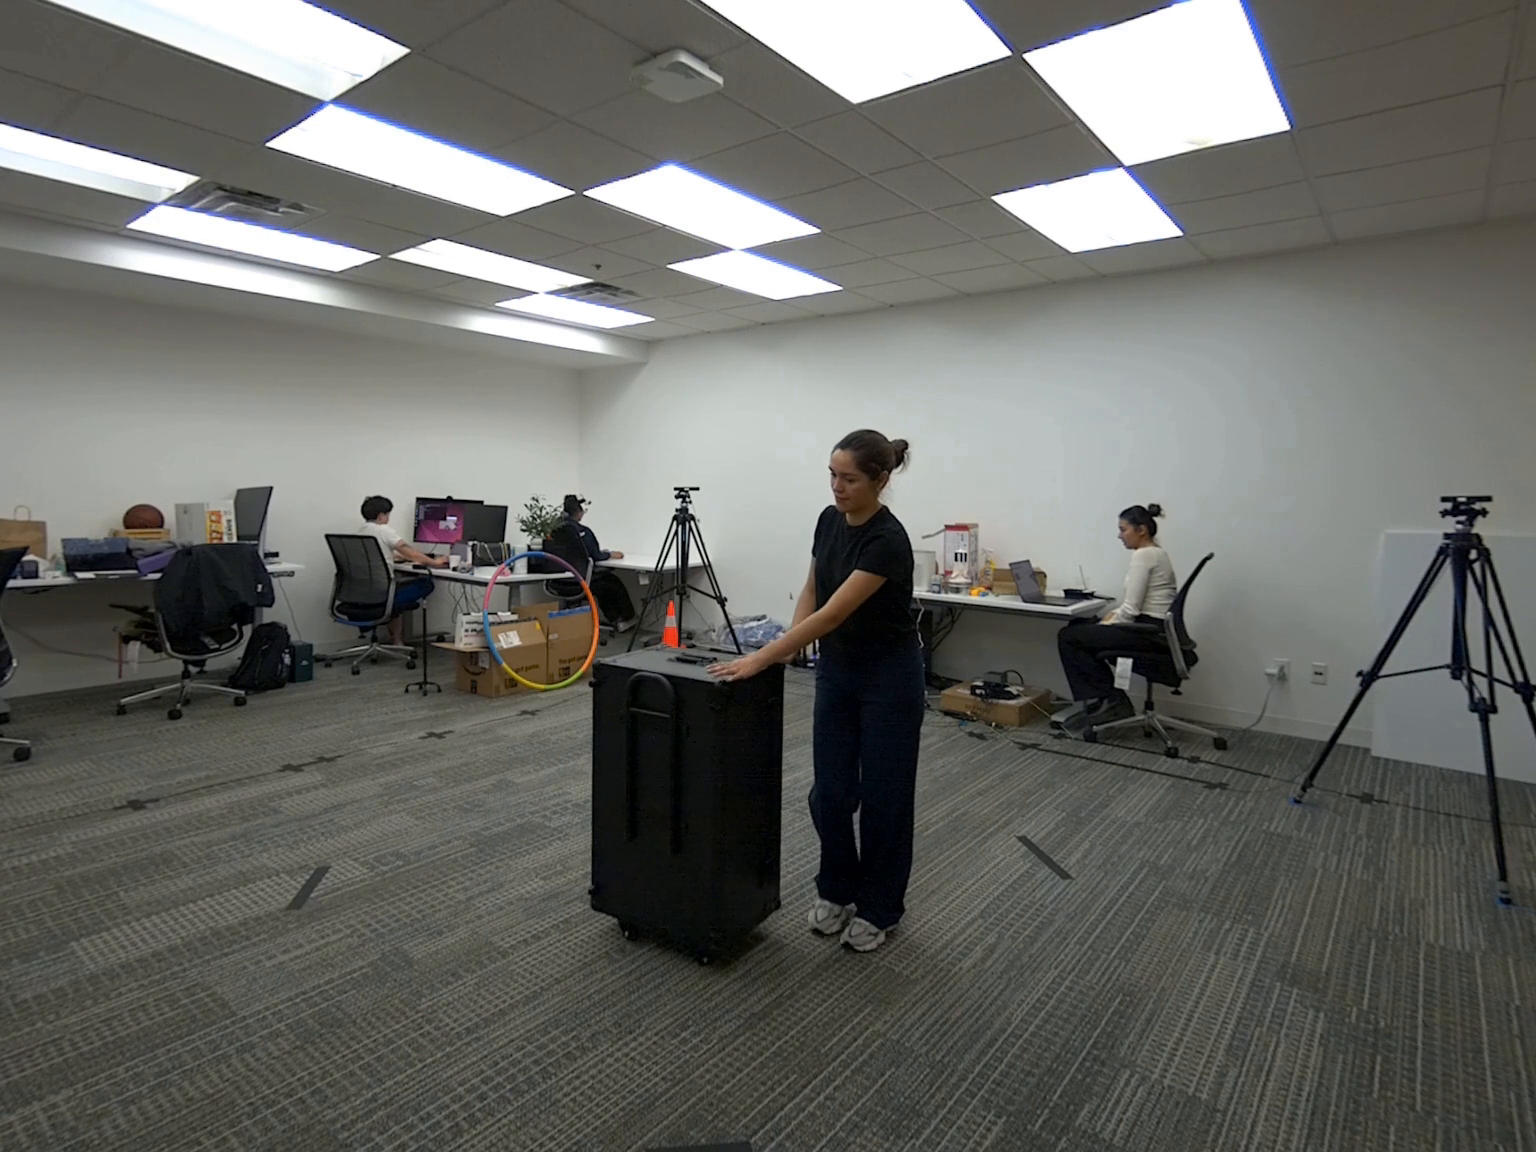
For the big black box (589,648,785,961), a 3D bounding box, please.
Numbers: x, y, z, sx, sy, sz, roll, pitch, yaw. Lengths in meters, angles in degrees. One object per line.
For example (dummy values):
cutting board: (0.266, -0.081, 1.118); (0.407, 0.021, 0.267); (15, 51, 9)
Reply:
big black box: (-0.243, 0.687, 2.645); (0.537, 0.858, 0.386); (3, 5, 33)
